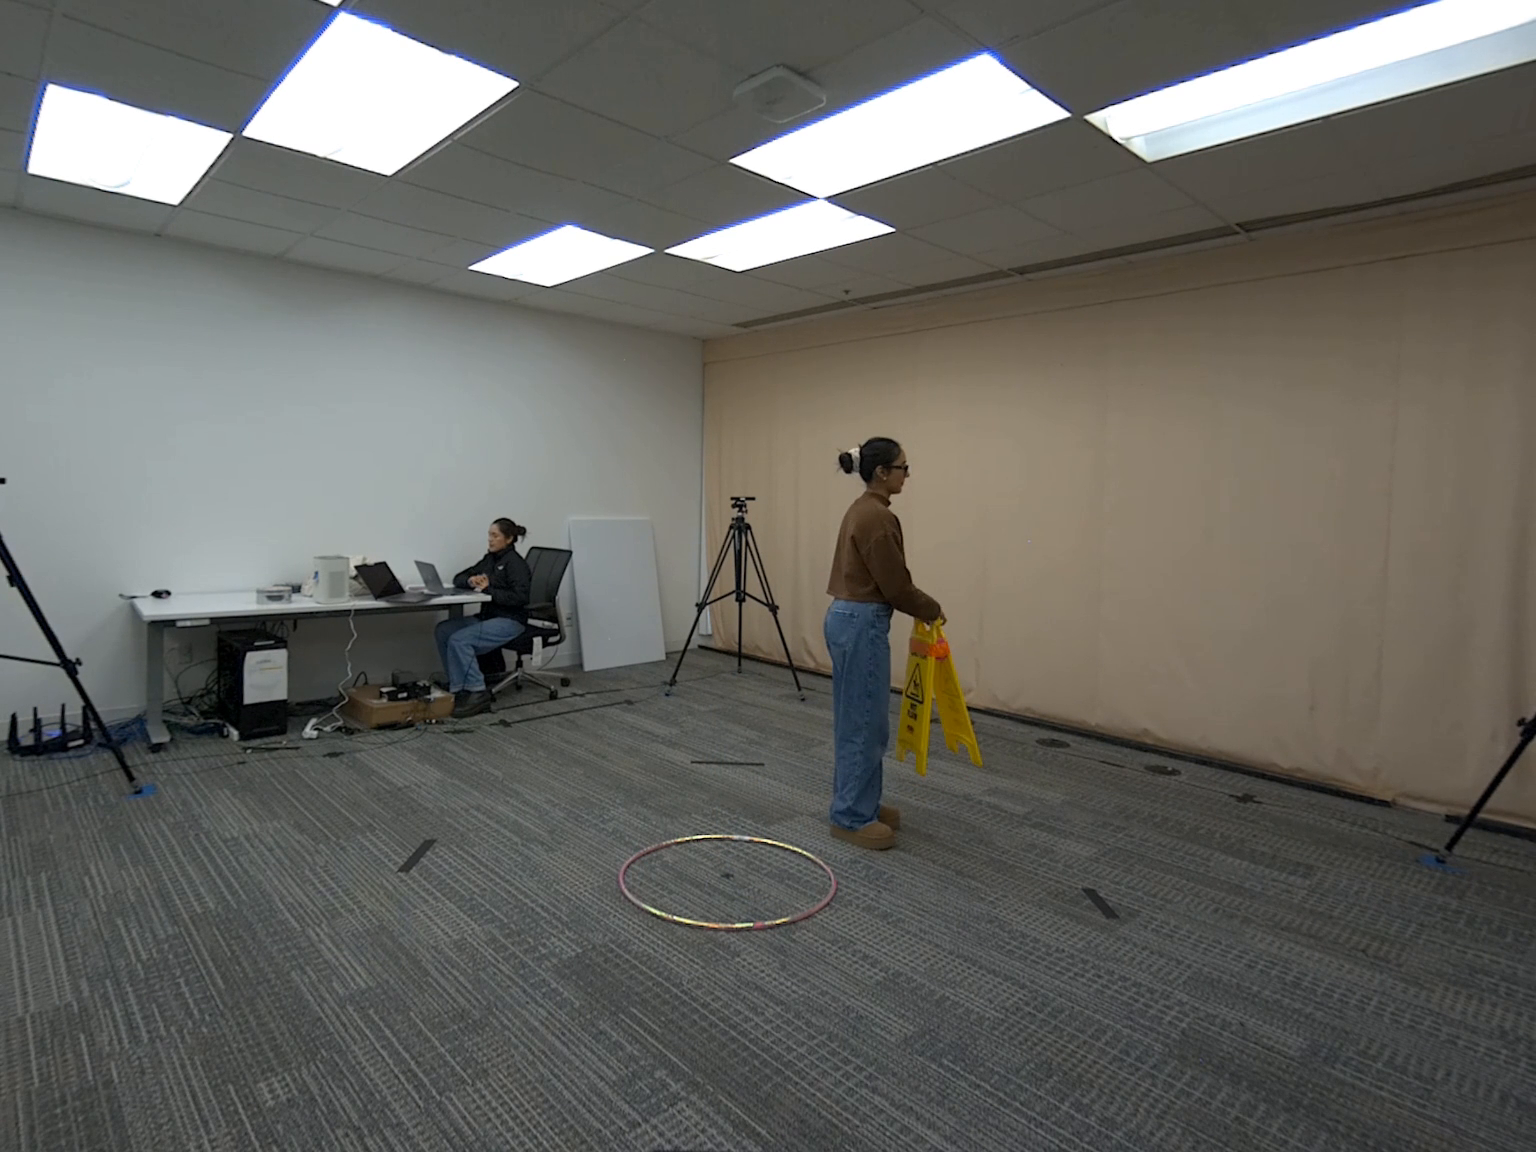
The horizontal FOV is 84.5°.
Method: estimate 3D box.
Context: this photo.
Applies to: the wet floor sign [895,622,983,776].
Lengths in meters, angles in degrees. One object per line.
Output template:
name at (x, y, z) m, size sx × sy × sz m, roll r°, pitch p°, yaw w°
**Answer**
wet floor sign at (0.693, 0.480, 3.589) m, size 0.287 × 0.644 × 0.286 m, roll -6°, pitch 4°, yaw -14°
